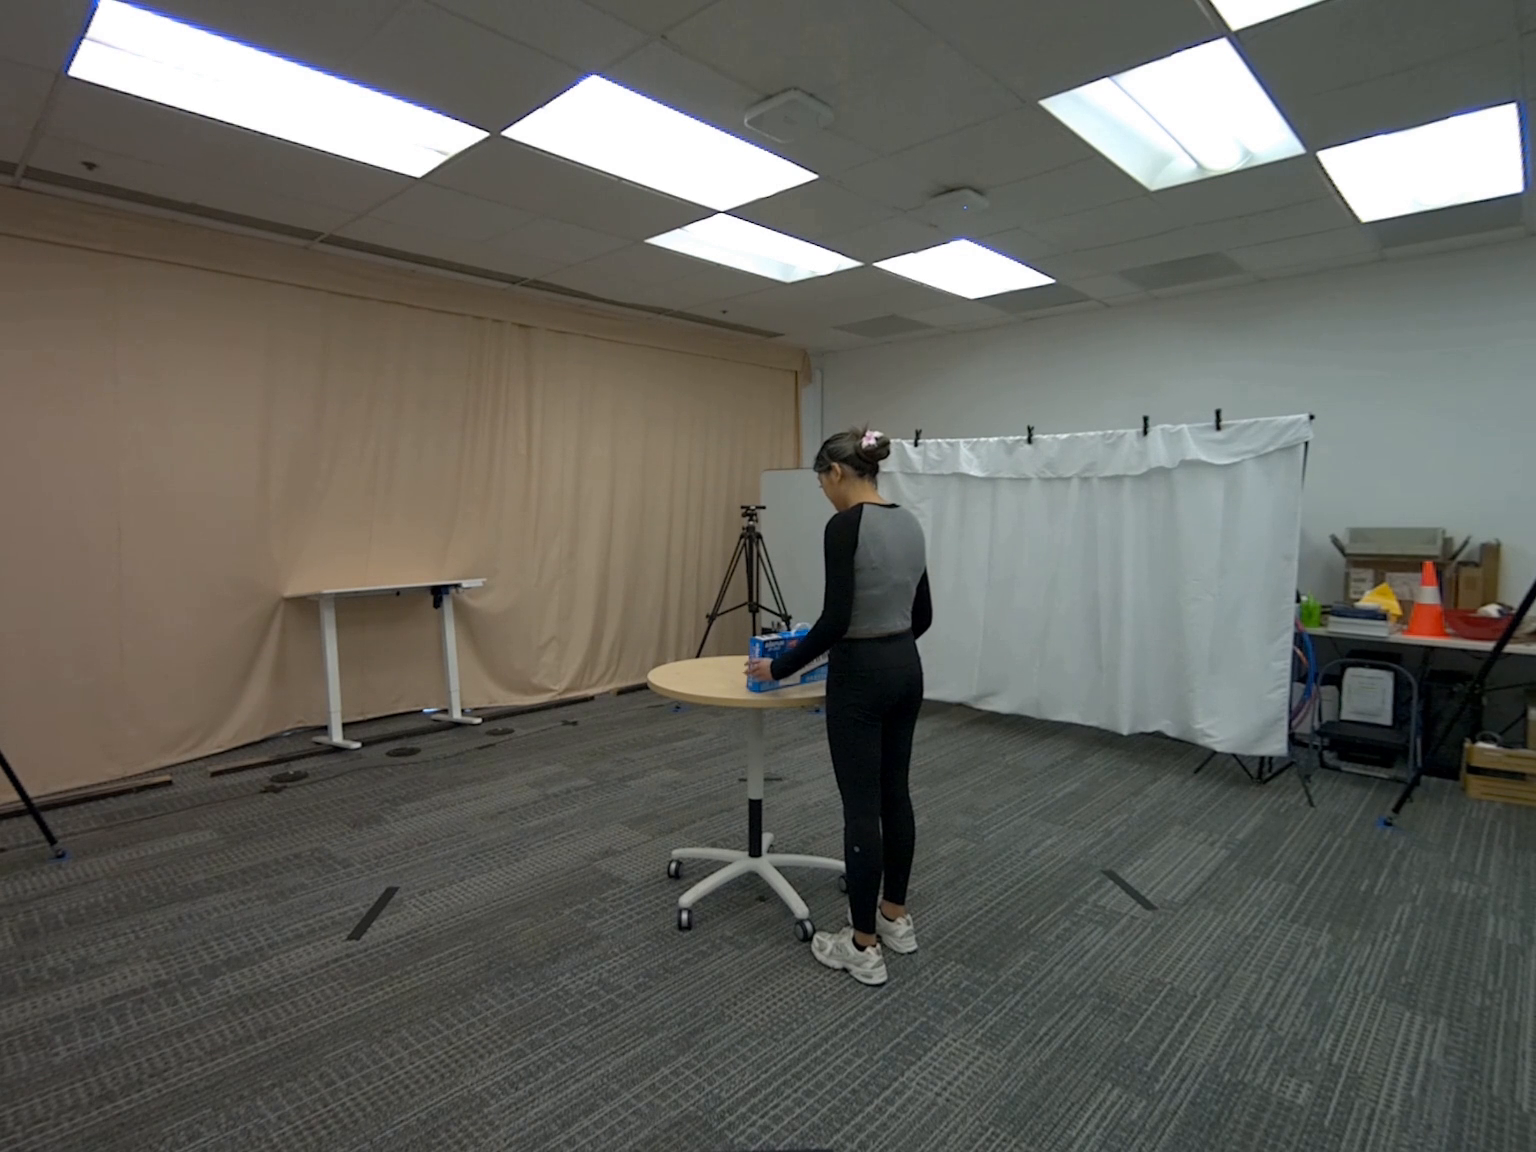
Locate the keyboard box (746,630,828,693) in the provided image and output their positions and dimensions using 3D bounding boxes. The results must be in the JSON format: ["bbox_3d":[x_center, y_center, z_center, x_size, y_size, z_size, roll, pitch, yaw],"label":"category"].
[{"bbox_3d":[0.114,0.274,2.841,0.423,0.175,0.061,-4,11,-43],"label":"keyboard box"}]
